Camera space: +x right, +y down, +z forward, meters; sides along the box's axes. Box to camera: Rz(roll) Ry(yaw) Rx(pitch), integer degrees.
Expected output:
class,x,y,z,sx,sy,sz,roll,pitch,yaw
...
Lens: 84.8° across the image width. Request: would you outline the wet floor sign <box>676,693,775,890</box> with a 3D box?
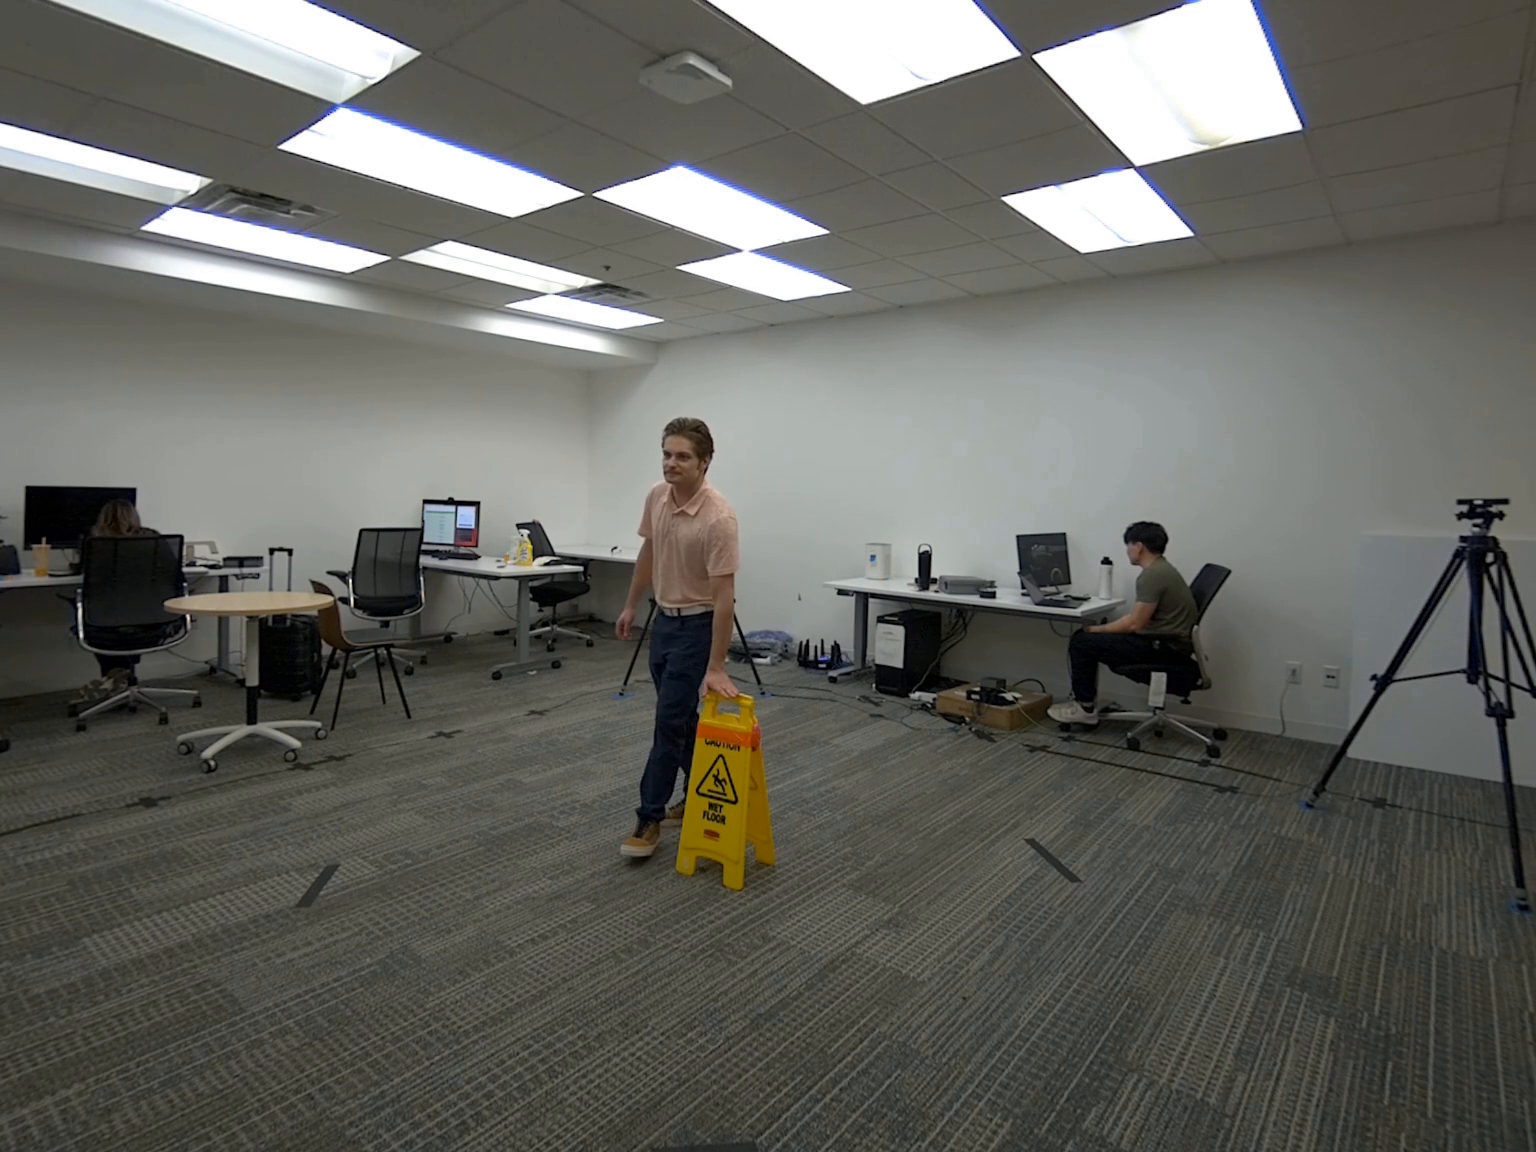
class,x,y,z,sx,sy,sz,roll,pitch,yaw
wet floor sign,-0.158,0.746,3.102,0.290,0.644,0.282,2,3,29
